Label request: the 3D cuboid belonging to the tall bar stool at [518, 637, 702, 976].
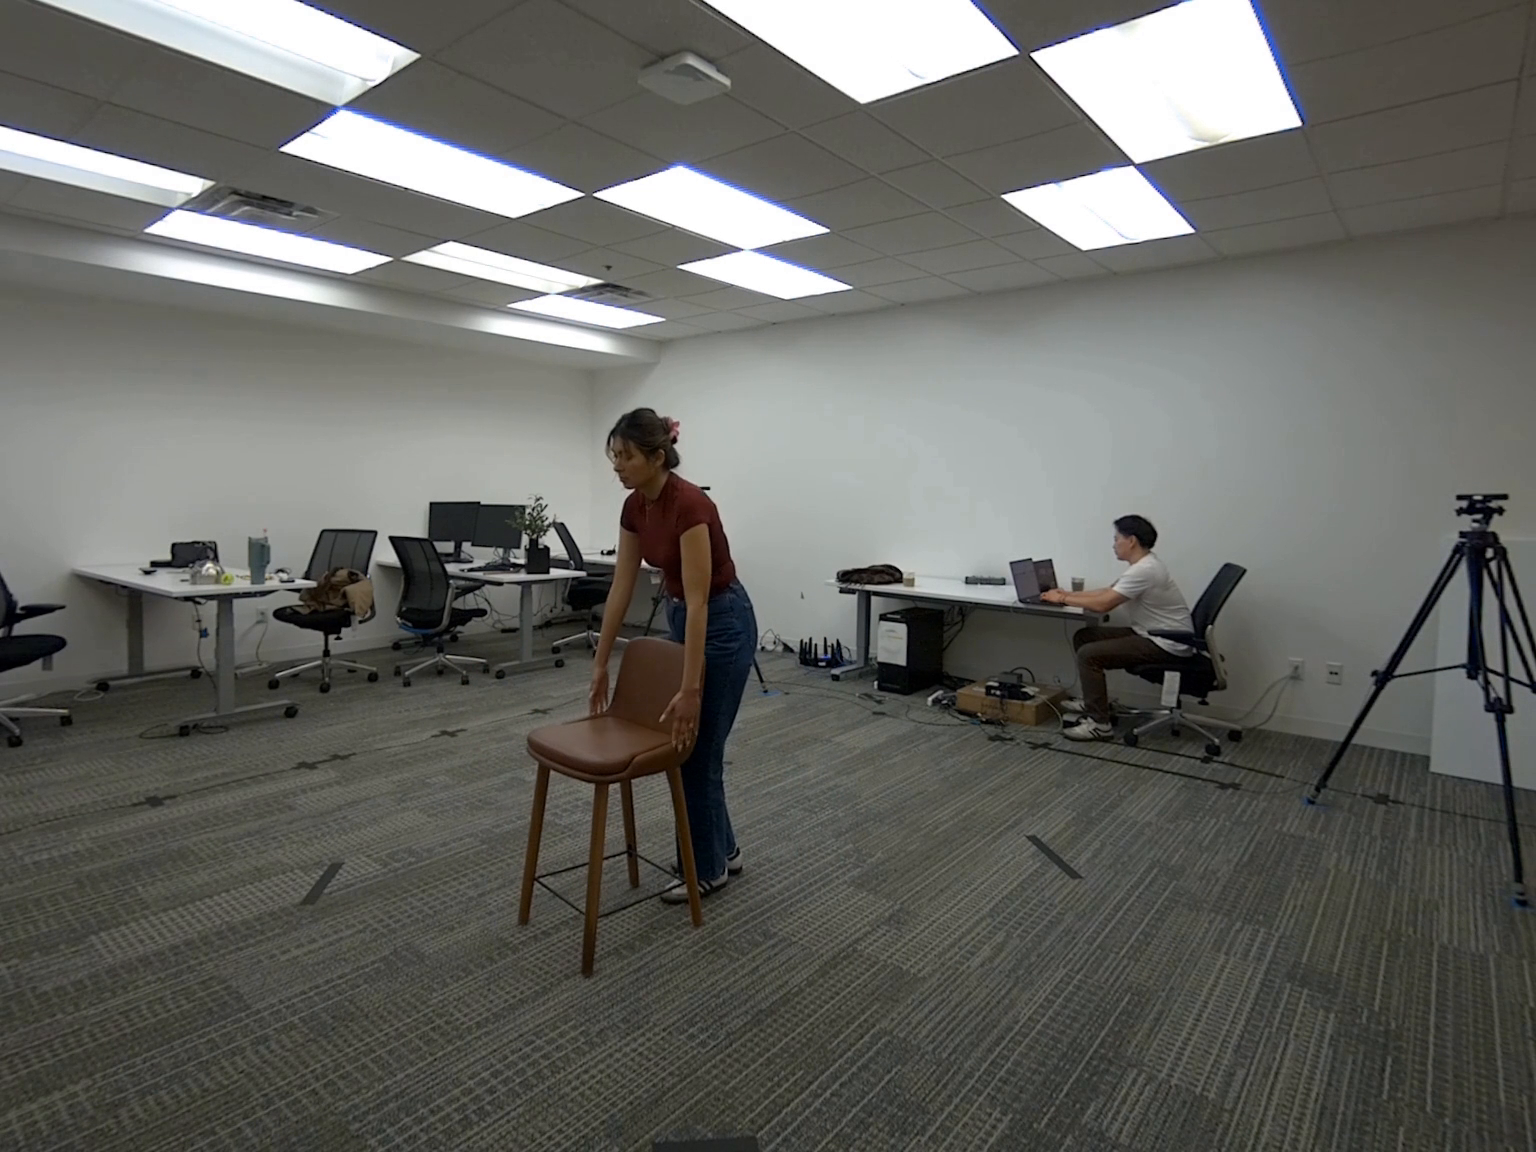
[{"bbox_3d":[-0.496,0.665,2.675,0.453,0.888,0.472,0,3,-43],"label":"tall bar stool"}]
